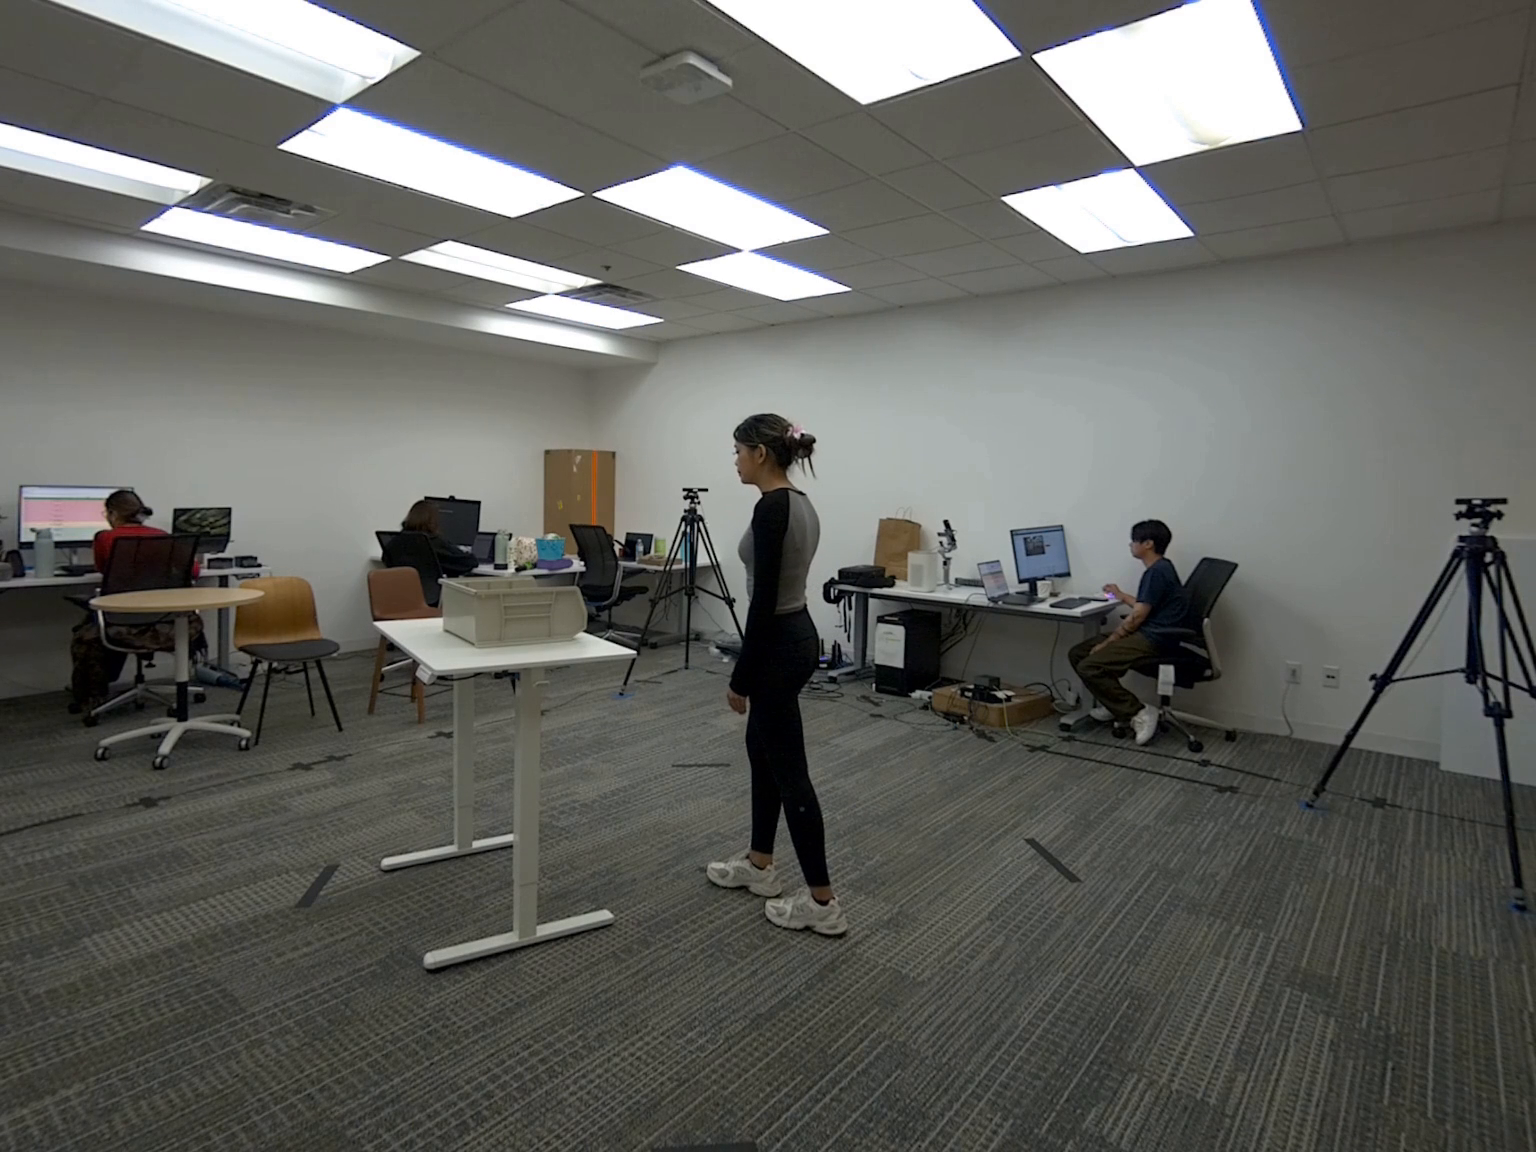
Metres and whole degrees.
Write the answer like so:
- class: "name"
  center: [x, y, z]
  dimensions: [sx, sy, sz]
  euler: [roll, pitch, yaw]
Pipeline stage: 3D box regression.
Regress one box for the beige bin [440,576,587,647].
- class: "beige bin"
  center: [-0.882, 0.112, 2.876]
  dimensions: [0.367, 0.188, 0.436]
  euler: [-4, 8, -35]
